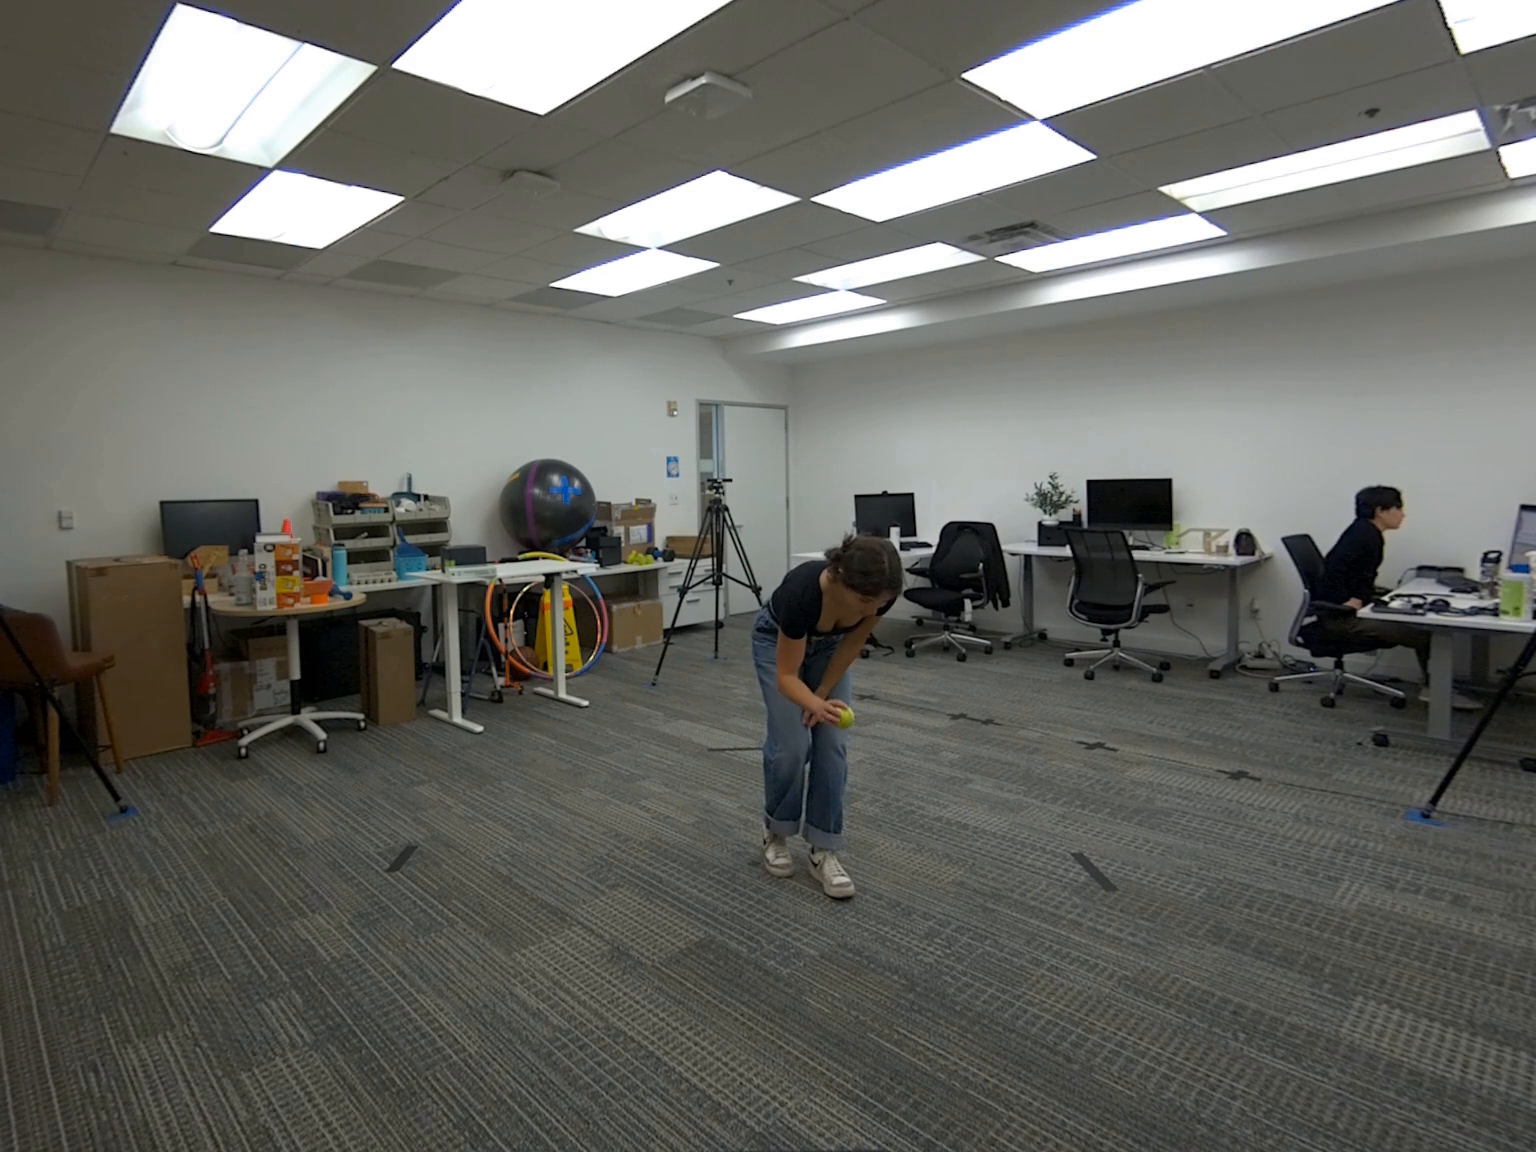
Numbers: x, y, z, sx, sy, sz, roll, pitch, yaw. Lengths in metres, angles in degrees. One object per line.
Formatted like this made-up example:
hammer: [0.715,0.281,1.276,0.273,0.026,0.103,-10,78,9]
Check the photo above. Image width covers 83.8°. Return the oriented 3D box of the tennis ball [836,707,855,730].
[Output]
tennis ball: [0.206,0.432,2.501,0.066,0.066,0.067,-1,5,-2]
